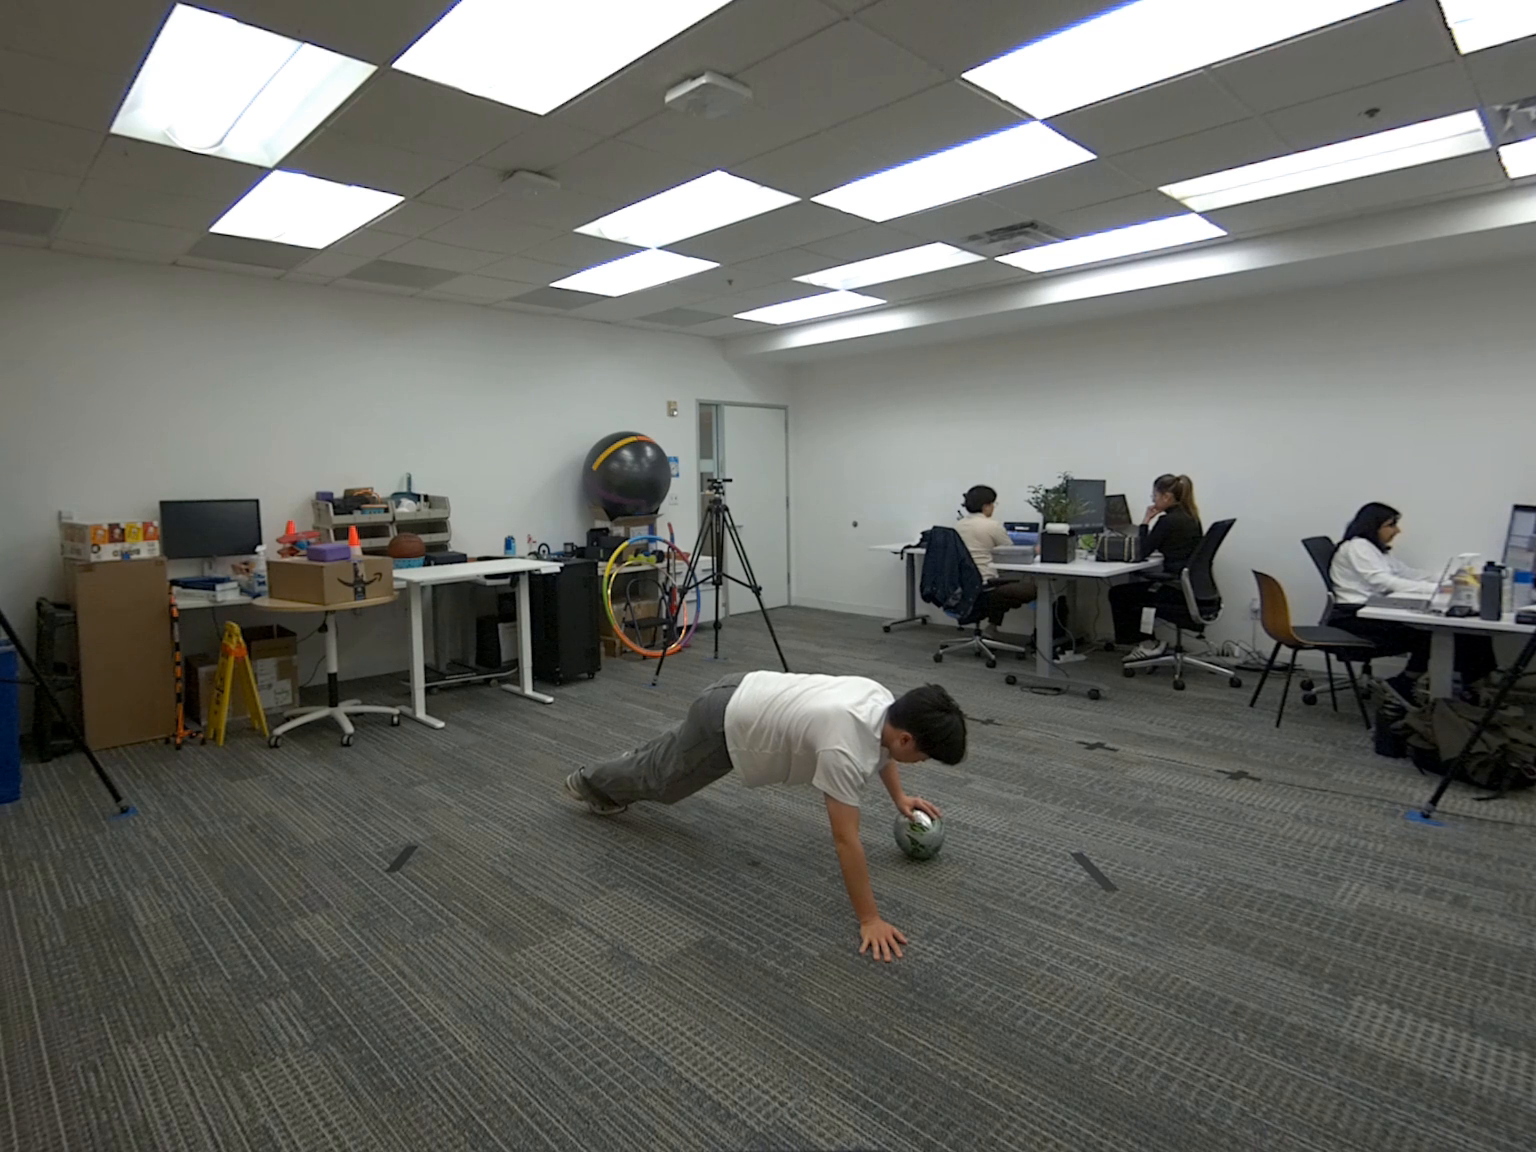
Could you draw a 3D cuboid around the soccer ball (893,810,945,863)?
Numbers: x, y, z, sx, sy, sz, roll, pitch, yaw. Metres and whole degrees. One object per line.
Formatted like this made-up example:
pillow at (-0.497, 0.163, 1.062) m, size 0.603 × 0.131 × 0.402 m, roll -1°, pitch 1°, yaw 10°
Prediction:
soccer ball at (0.554, 0.937, 3.135) m, size 0.187 × 0.187 × 0.188 m, roll -1°, pitch 5°, yaw -2°
